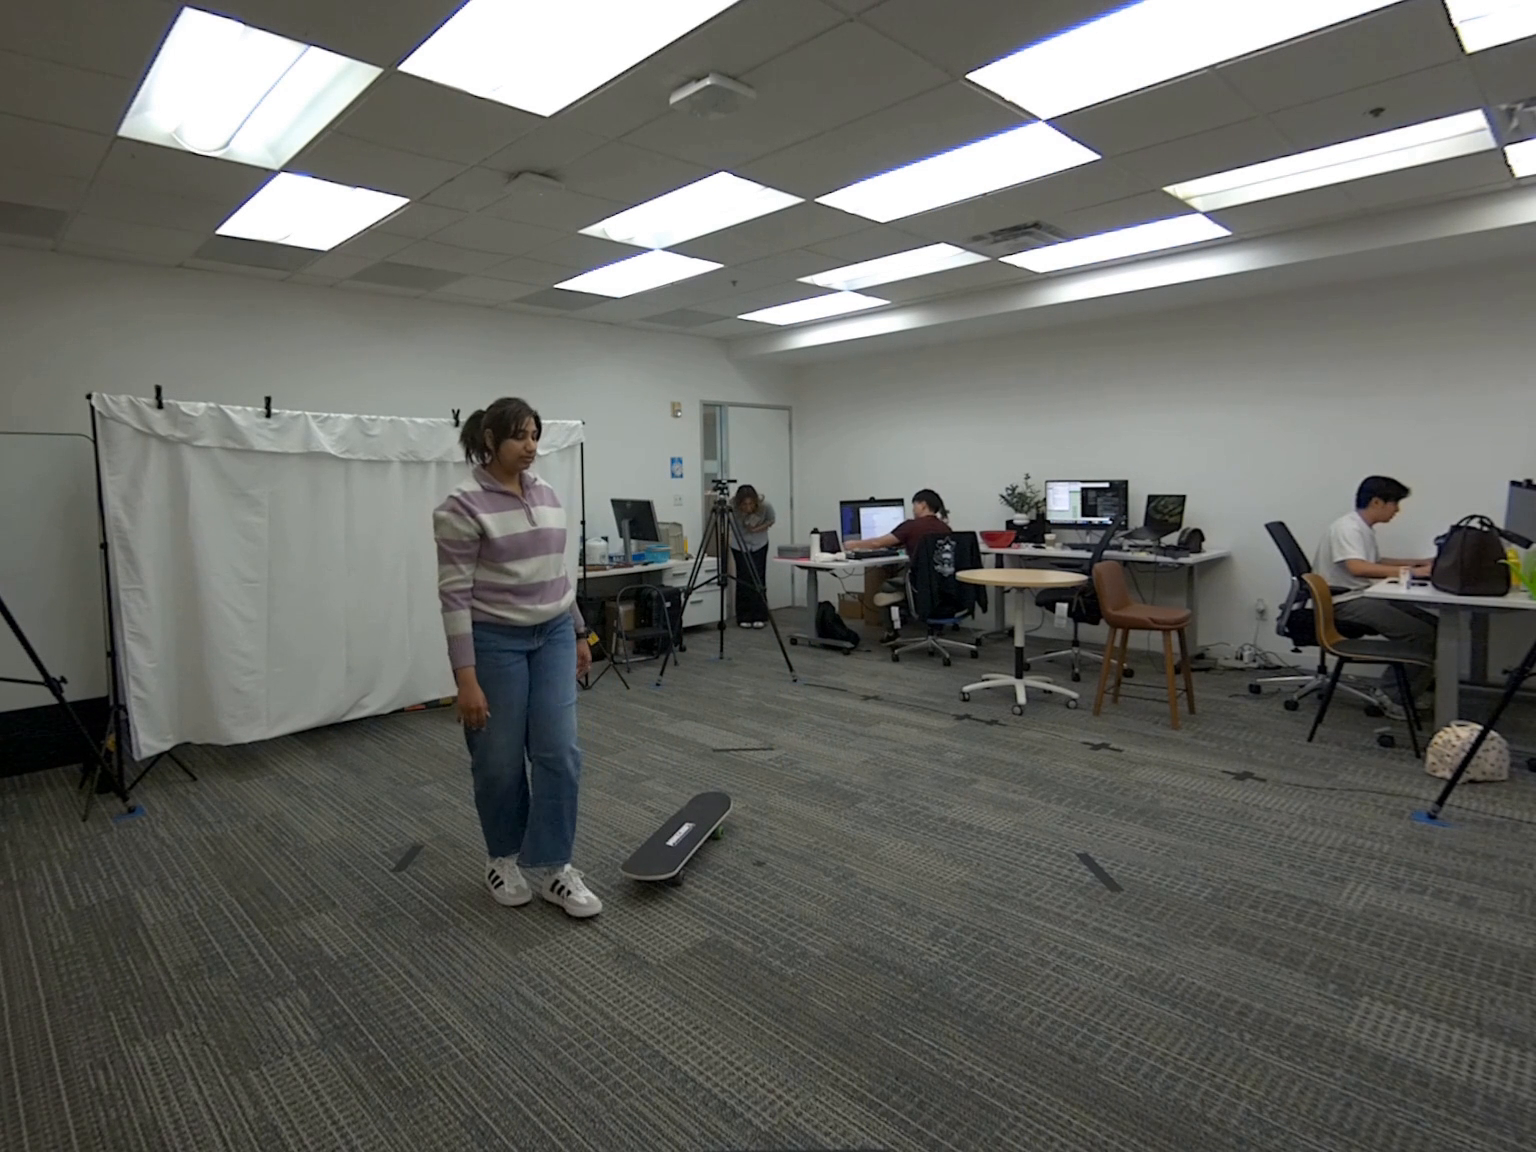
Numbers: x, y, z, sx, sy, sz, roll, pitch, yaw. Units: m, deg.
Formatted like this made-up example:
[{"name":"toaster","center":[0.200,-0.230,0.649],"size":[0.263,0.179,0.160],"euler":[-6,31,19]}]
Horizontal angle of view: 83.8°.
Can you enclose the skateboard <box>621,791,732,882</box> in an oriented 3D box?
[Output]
[{"name":"skateboard","center":[-0.319,0.984,3.169],"size":[0.197,0.110,0.776],"euler":[1,7,16]}]
